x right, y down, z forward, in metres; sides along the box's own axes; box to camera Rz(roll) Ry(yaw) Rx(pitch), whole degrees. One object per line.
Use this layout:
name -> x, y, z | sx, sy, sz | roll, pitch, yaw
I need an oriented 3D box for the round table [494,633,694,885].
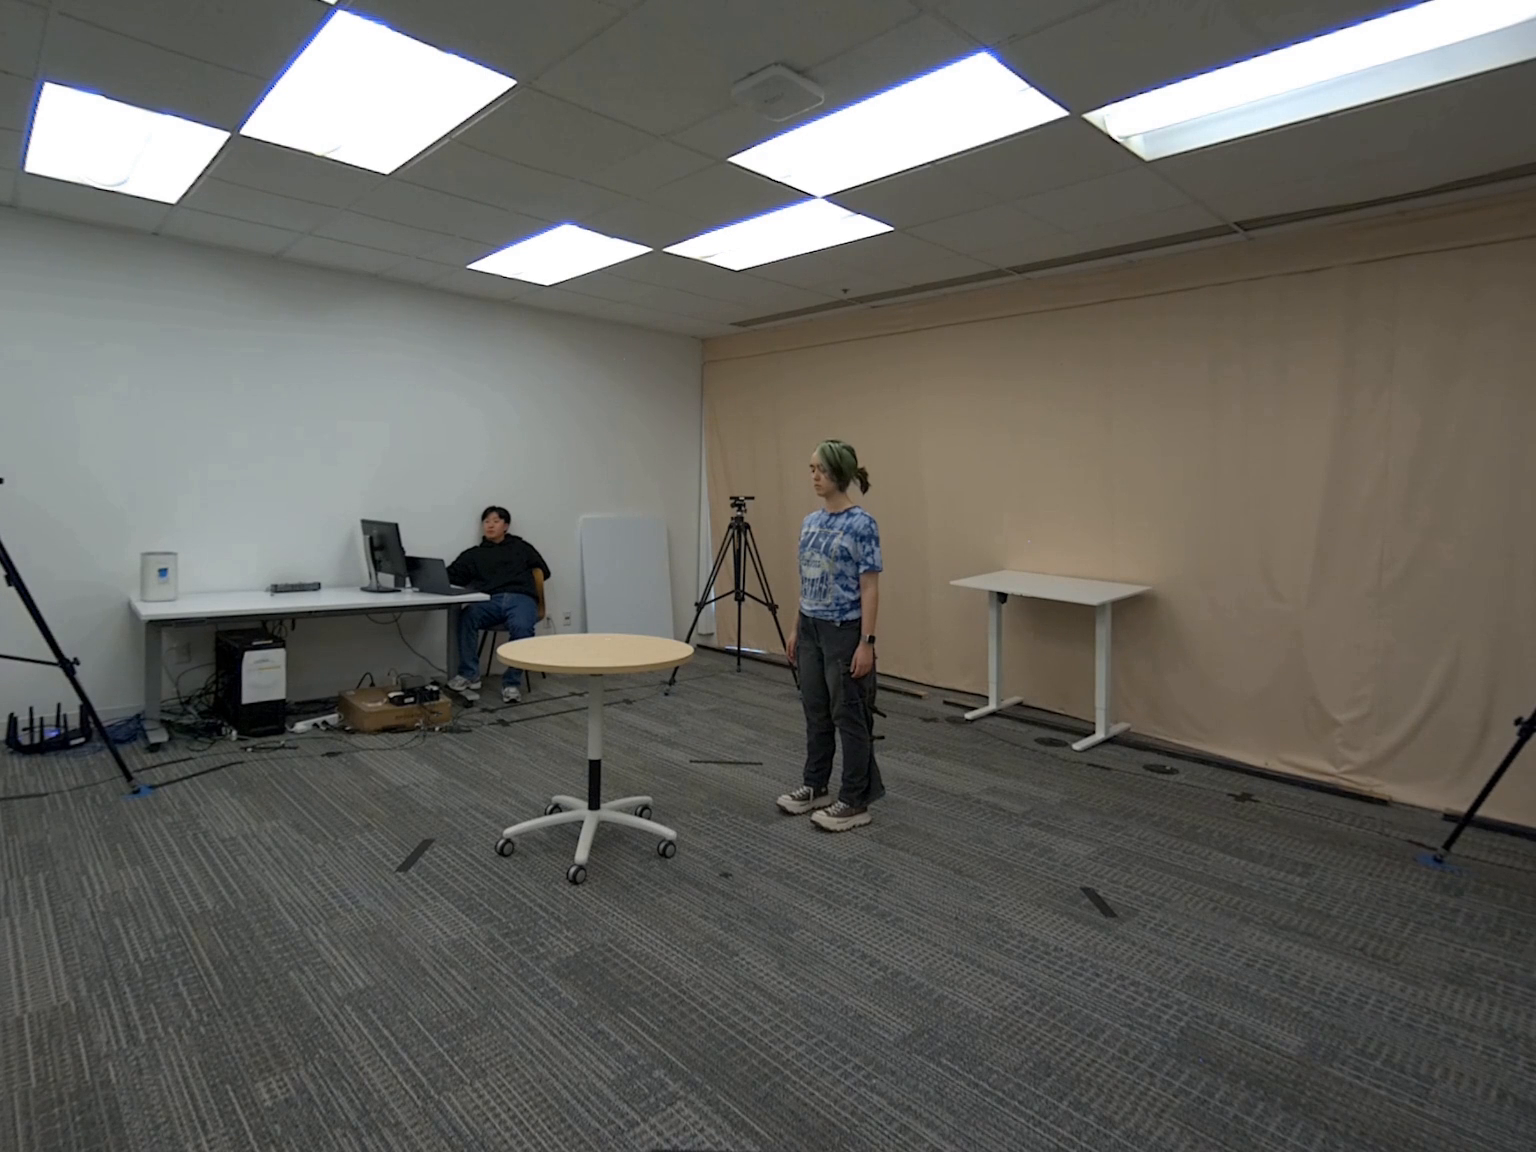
round table -> -0.700, 0.683, 3.344 | 0.763, 0.792, 0.766 | 2, 4, -1
